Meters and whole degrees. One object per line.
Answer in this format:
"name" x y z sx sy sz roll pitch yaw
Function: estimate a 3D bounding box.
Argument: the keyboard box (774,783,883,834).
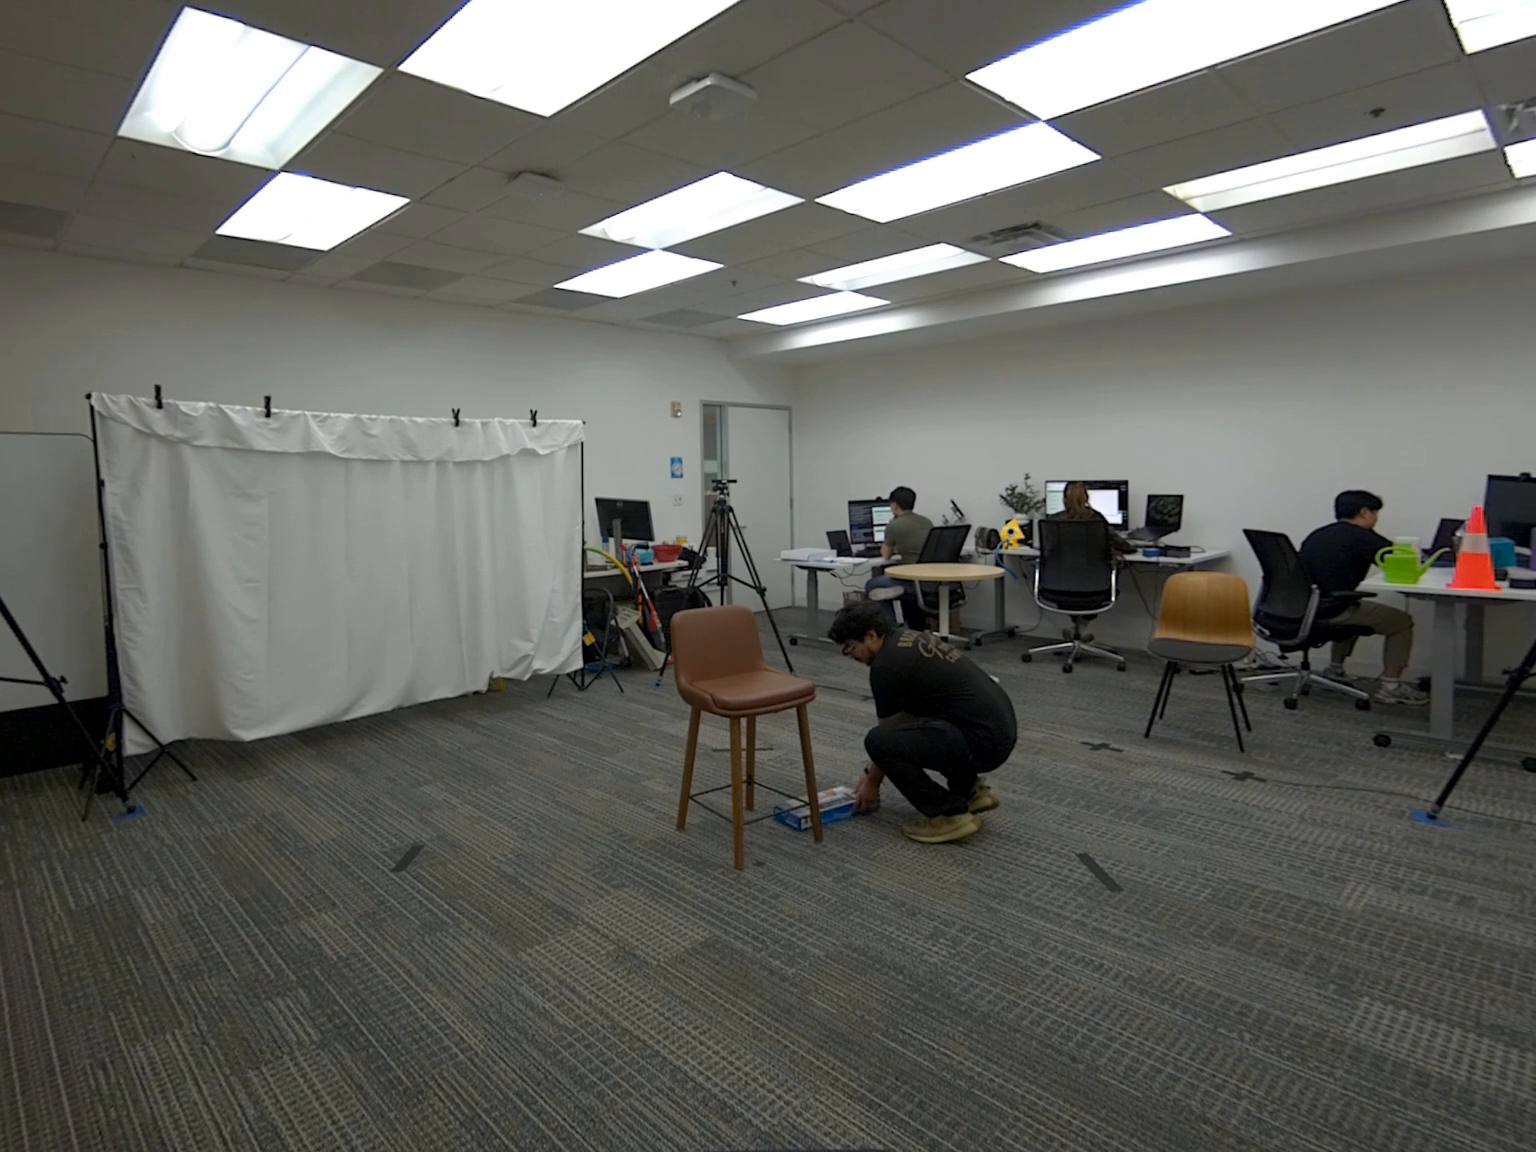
"keyboard box" 0.254 0.963 3.573 0.426 0.059 0.181 -5 7 -34
